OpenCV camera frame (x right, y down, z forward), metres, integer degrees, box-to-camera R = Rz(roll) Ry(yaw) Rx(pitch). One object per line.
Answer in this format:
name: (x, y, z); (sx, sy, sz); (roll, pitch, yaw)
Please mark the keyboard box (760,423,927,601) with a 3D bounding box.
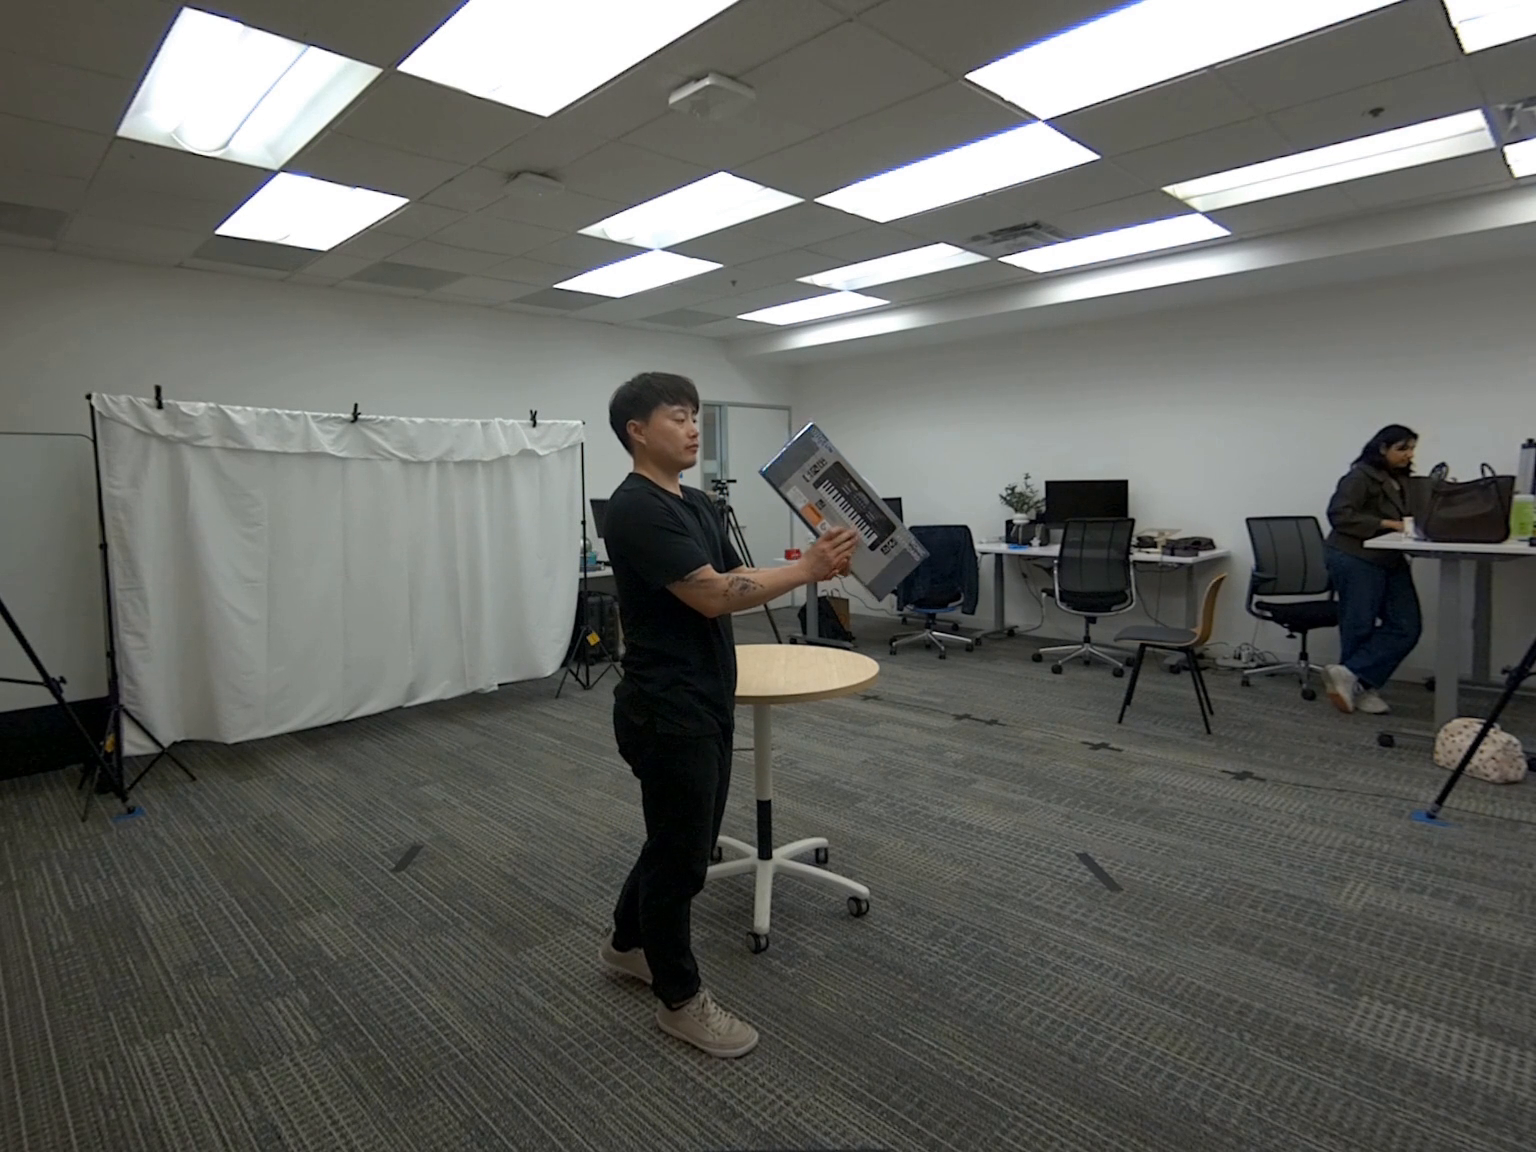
keyboard box: (0.185, -0.151, 2.078); (0.176, 0.430, 0.060); (-44, 11, -3)
